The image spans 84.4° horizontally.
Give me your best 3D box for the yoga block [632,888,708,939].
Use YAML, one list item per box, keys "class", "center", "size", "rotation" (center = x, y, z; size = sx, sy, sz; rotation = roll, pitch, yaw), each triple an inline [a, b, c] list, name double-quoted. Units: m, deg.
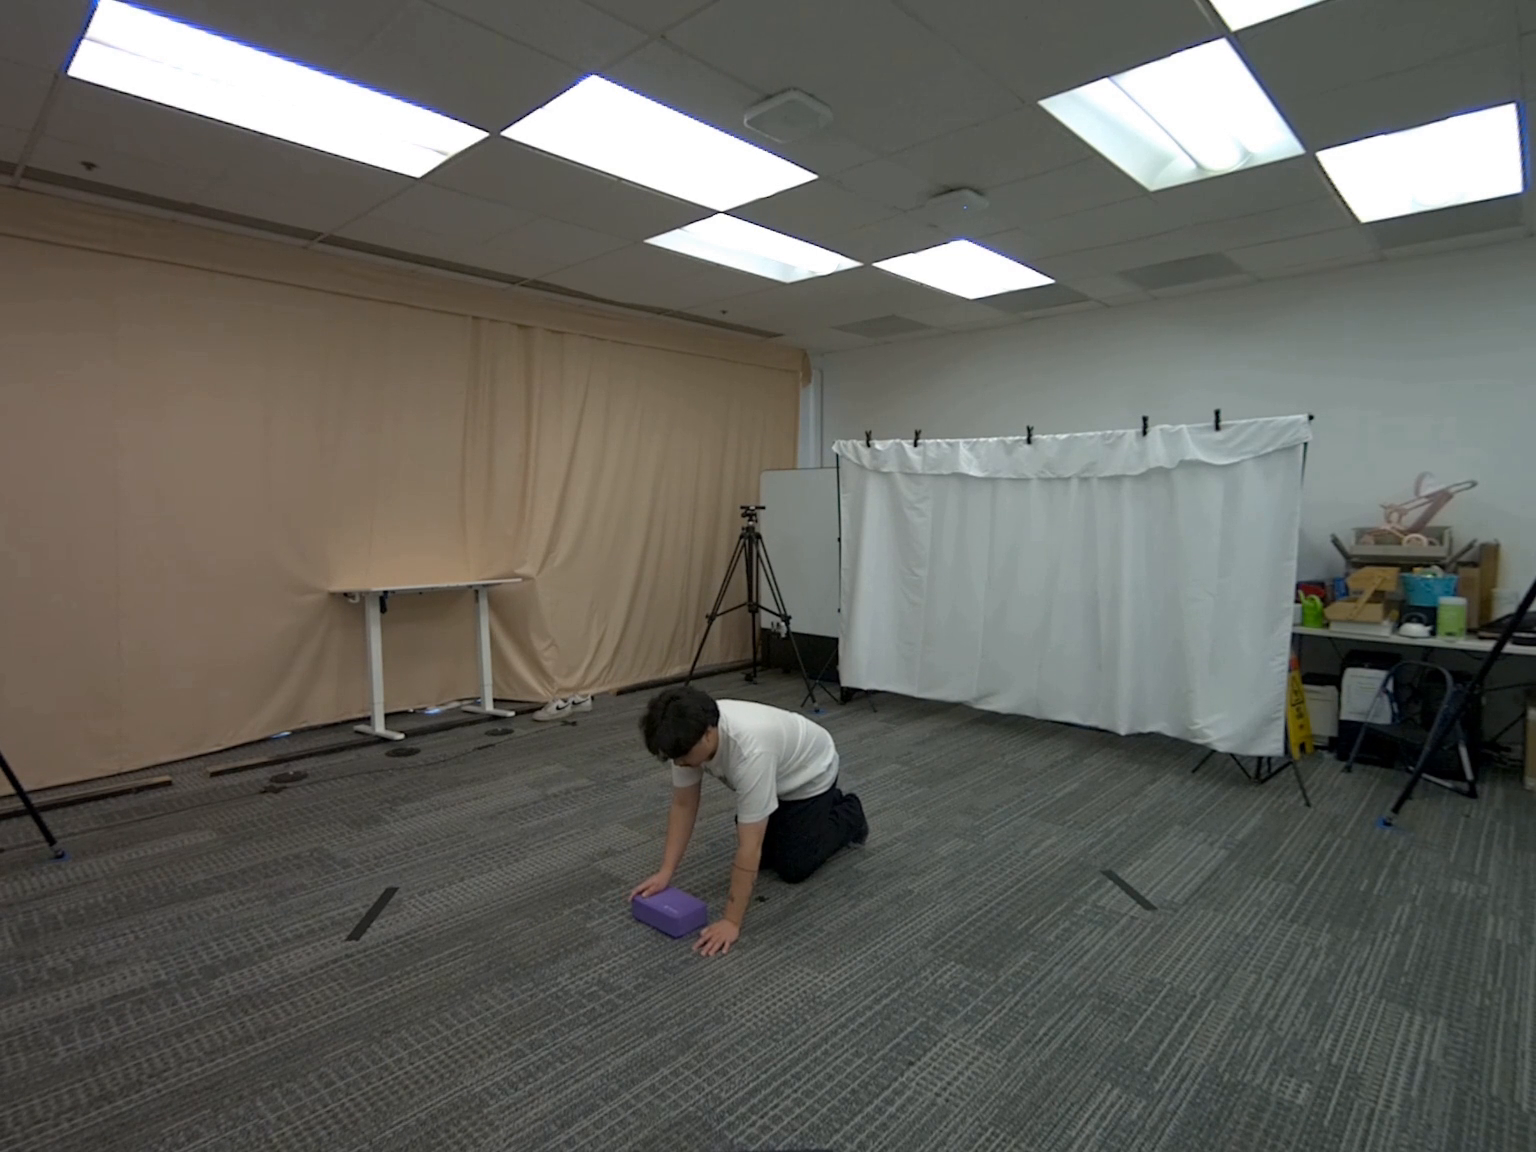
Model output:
- class: "yoga block"
  center: [-0.330, 1.119, 2.824]
  size: [0.237, 0.076, 0.144]
  rotation: [4, 5, 44]
